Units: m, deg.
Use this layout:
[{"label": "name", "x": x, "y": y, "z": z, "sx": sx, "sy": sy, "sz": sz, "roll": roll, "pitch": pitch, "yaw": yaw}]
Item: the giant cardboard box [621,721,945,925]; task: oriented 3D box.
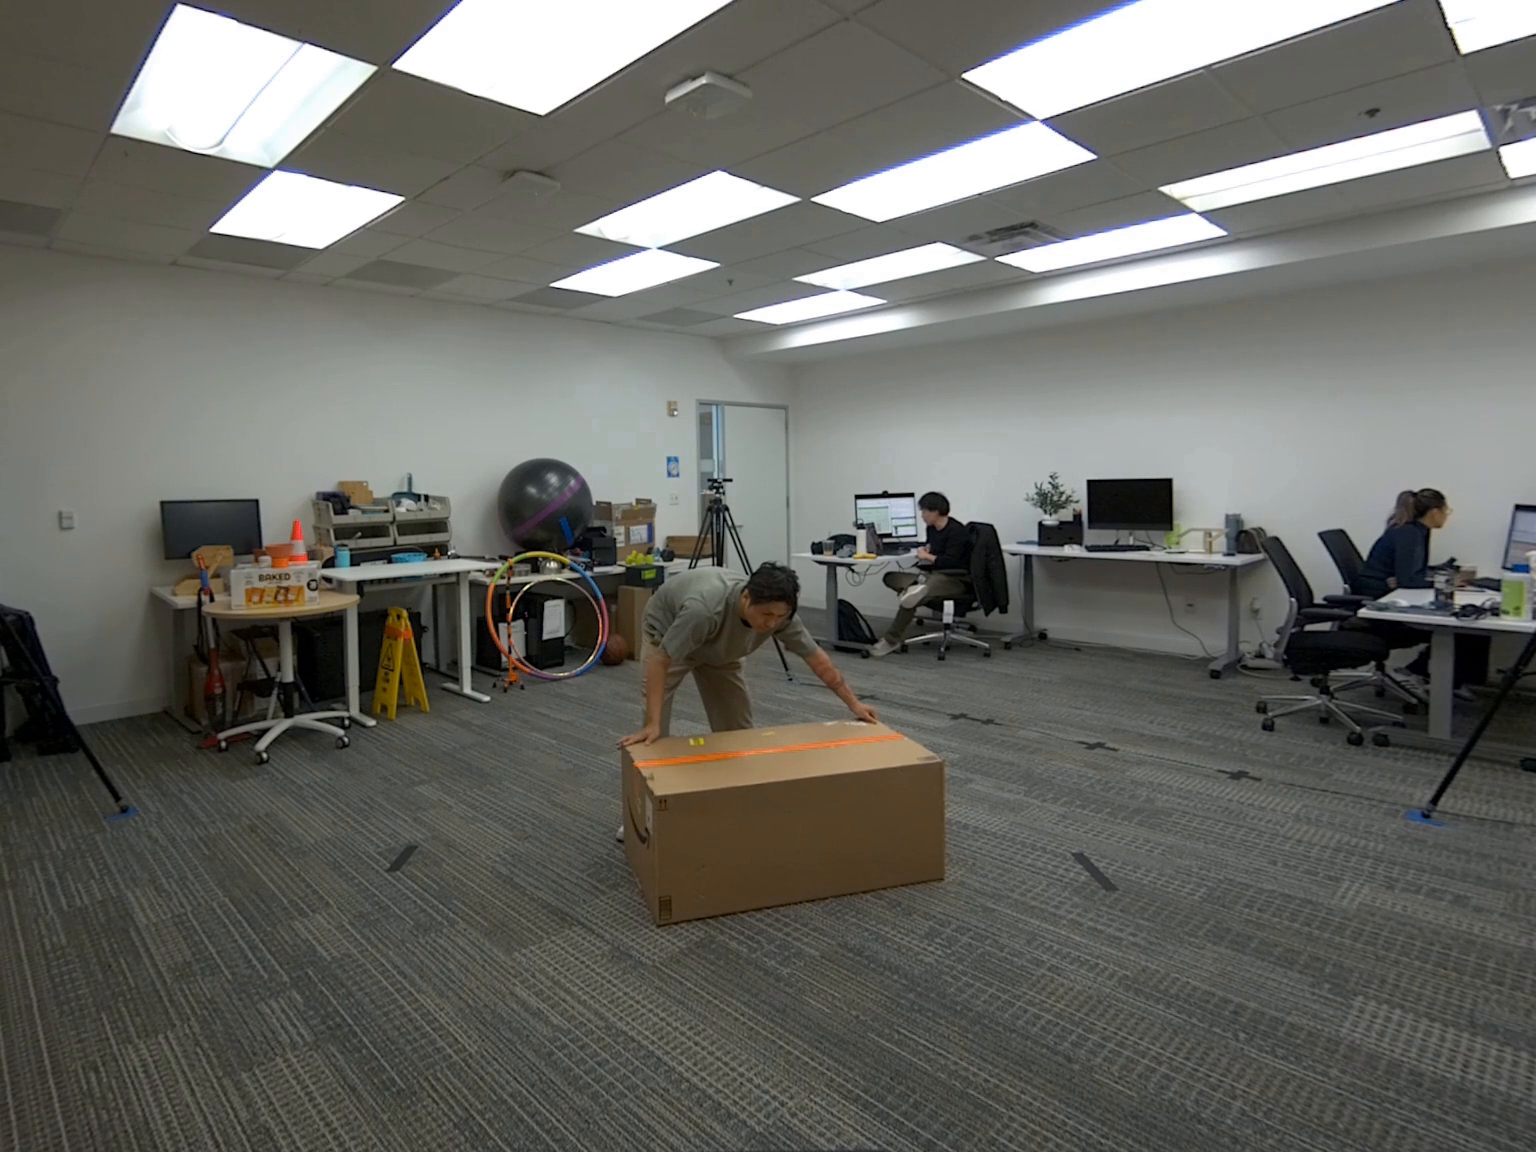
[{"label": "giant cardboard box", "x": 0.033, "y": 0.829, "z": 3.066, "sx": 1.010, "sy": 0.424, "sz": 0.589, "roll": -3, "pitch": 6, "yaw": -18}]
